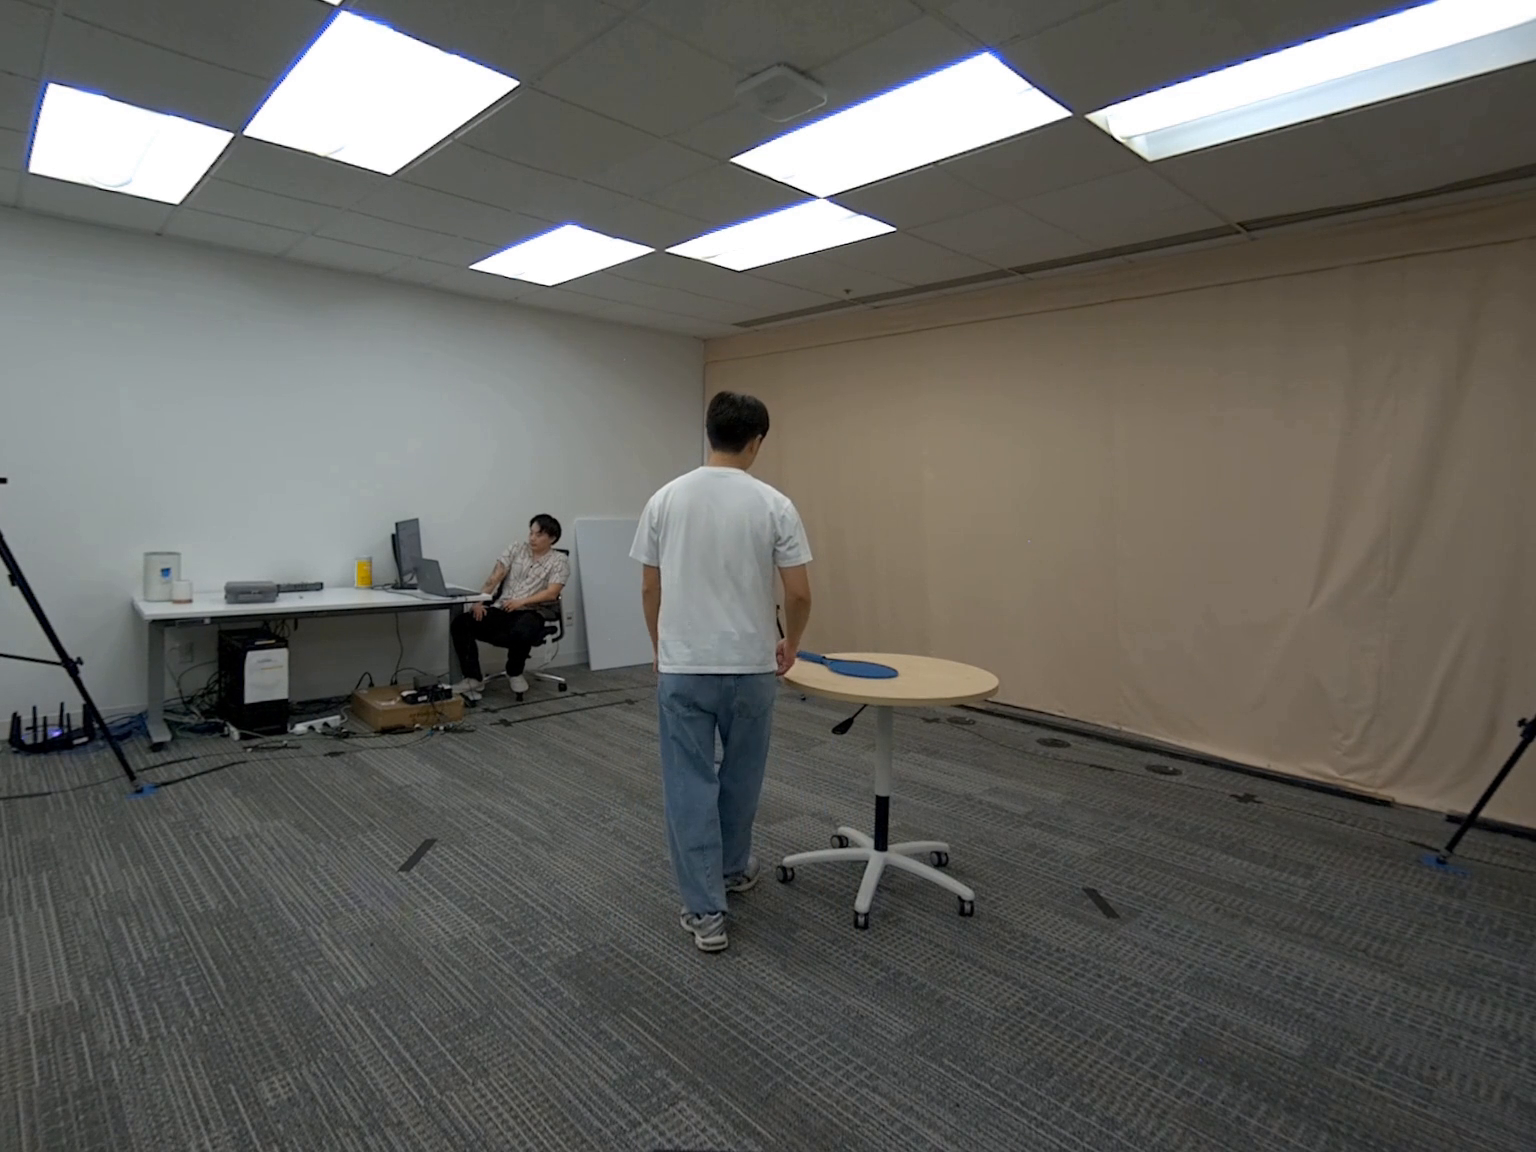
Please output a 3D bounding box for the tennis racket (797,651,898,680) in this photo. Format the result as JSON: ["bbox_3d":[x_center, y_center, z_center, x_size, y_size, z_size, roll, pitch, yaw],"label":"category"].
[{"bbox_3d":[0.276,0.327,3.071,0.209,0.031,0.444,-4,9,-44],"label":"tennis racket"}]
